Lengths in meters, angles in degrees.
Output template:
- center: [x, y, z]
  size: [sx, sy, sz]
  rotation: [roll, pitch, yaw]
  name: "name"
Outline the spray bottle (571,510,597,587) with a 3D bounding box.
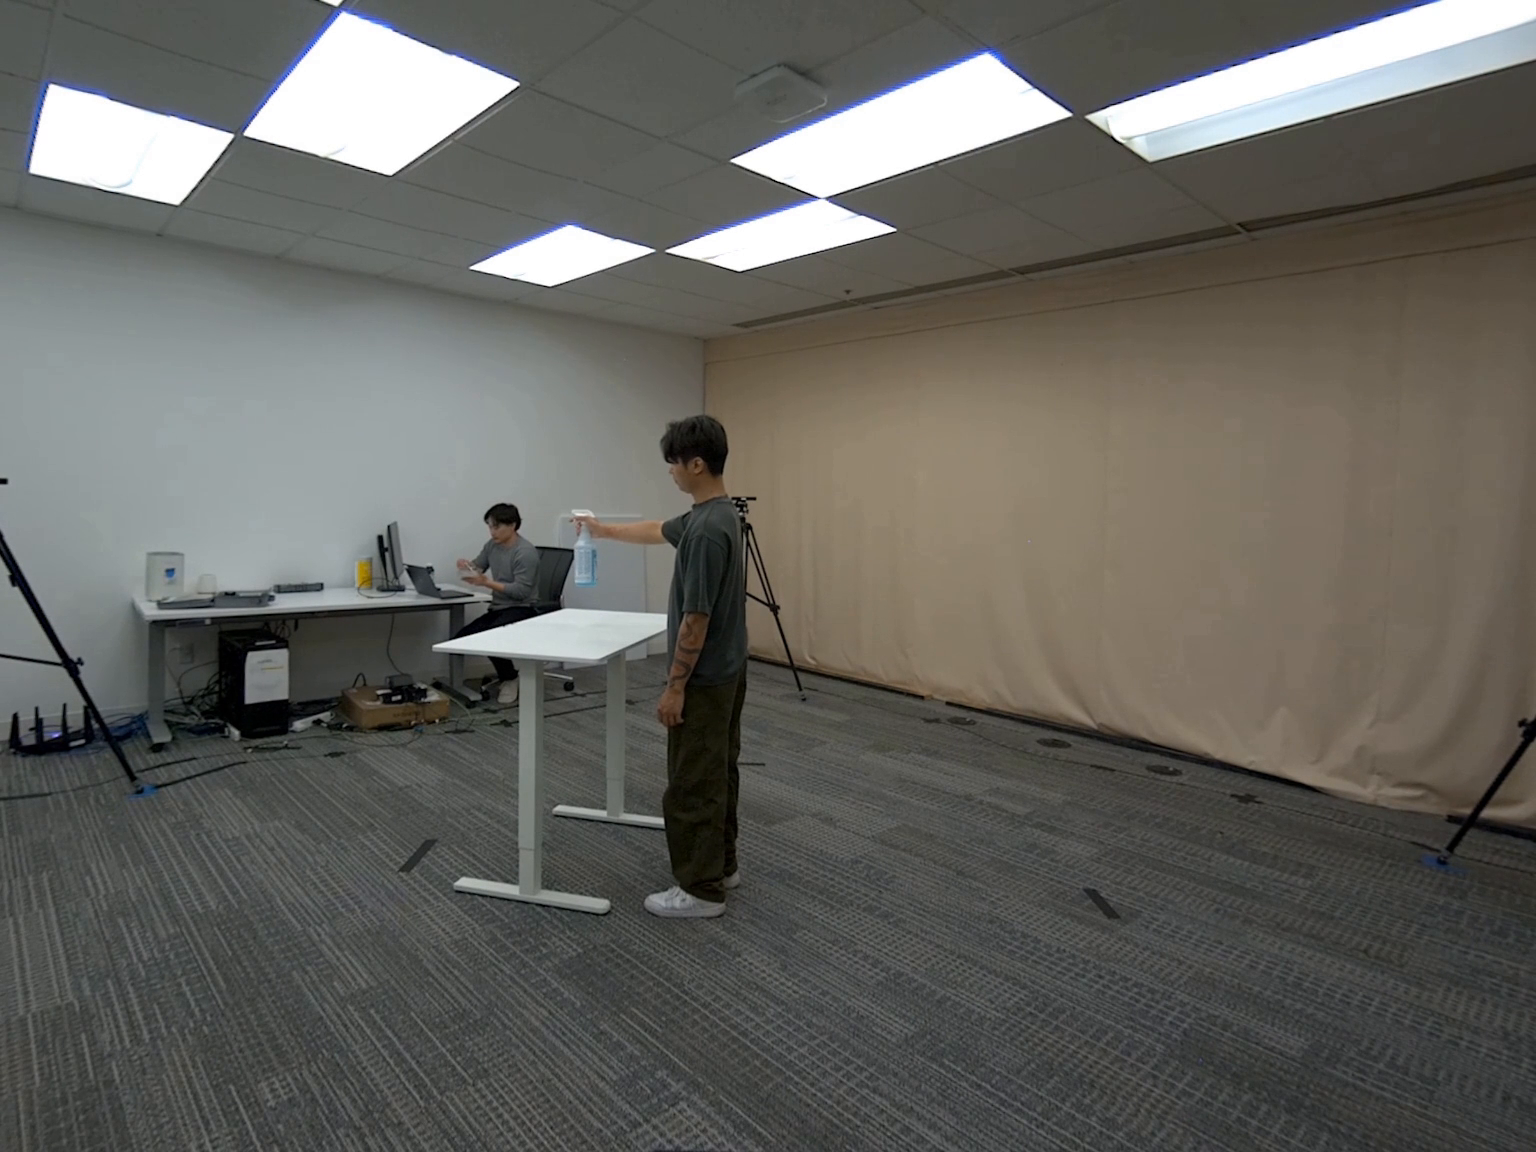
- center: [-0.717, -0.110, 3.283]
  size: [0.092, 0.297, 0.085]
  rotation: [2, 4, 34]
  name: "spray bottle"
